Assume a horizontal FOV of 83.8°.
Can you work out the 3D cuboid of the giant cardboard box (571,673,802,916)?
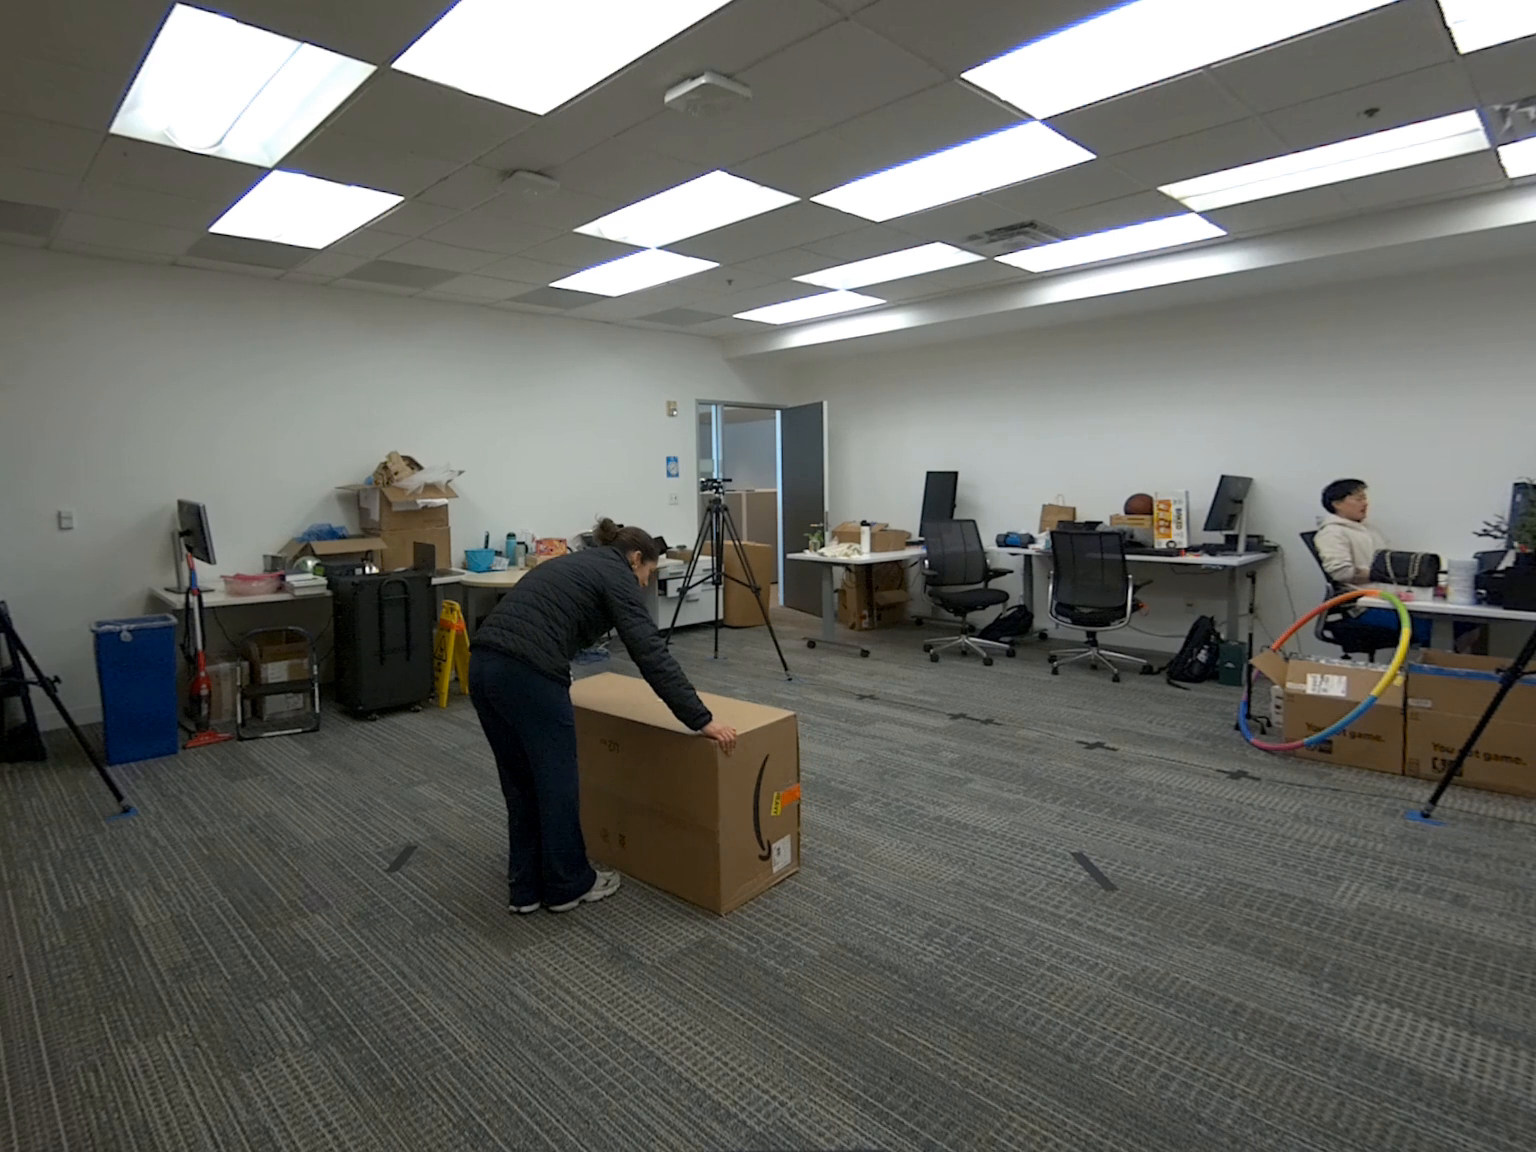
[{"bbox_3d":[-0.415,0.752,3.219,1.058,0.582,0.435,4,6,40],"label":"giant cardboard box"}]
